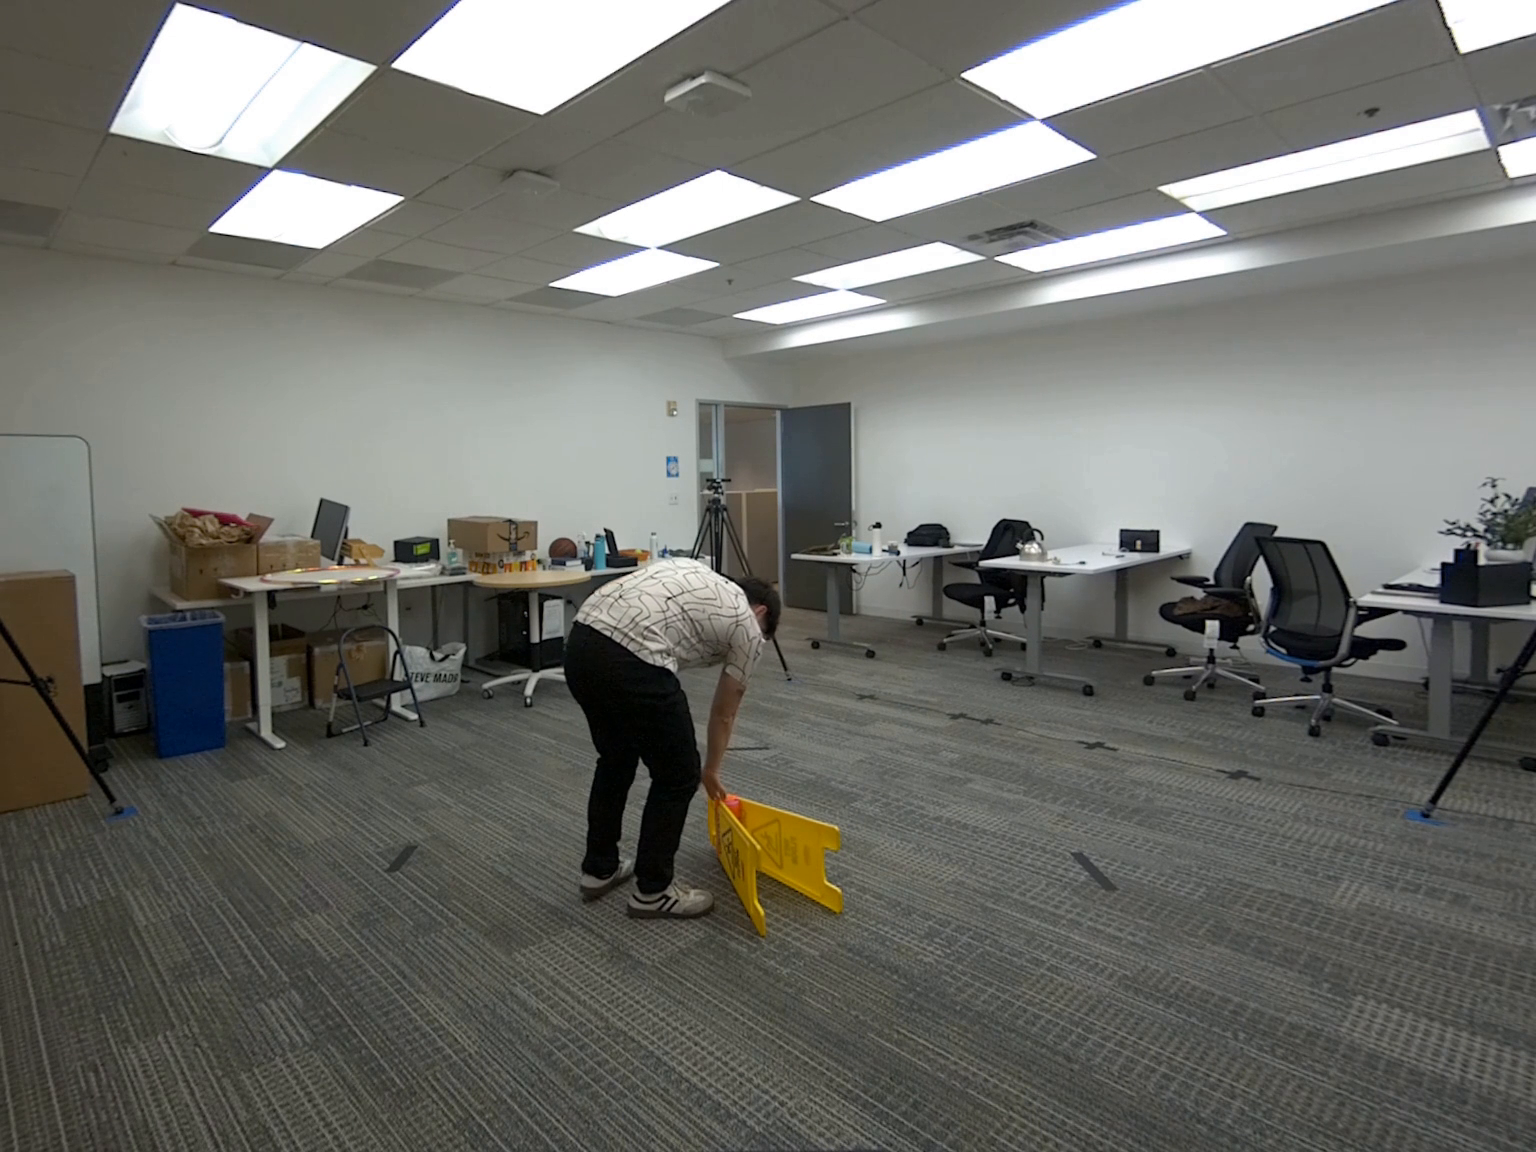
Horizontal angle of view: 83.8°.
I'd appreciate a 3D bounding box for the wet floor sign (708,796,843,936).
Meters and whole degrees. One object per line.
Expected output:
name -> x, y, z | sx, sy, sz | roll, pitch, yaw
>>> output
wet floor sign -> -0.056, 0.929, 2.949 | 0.283, 0.281, 0.662 | -4, 5, -29
